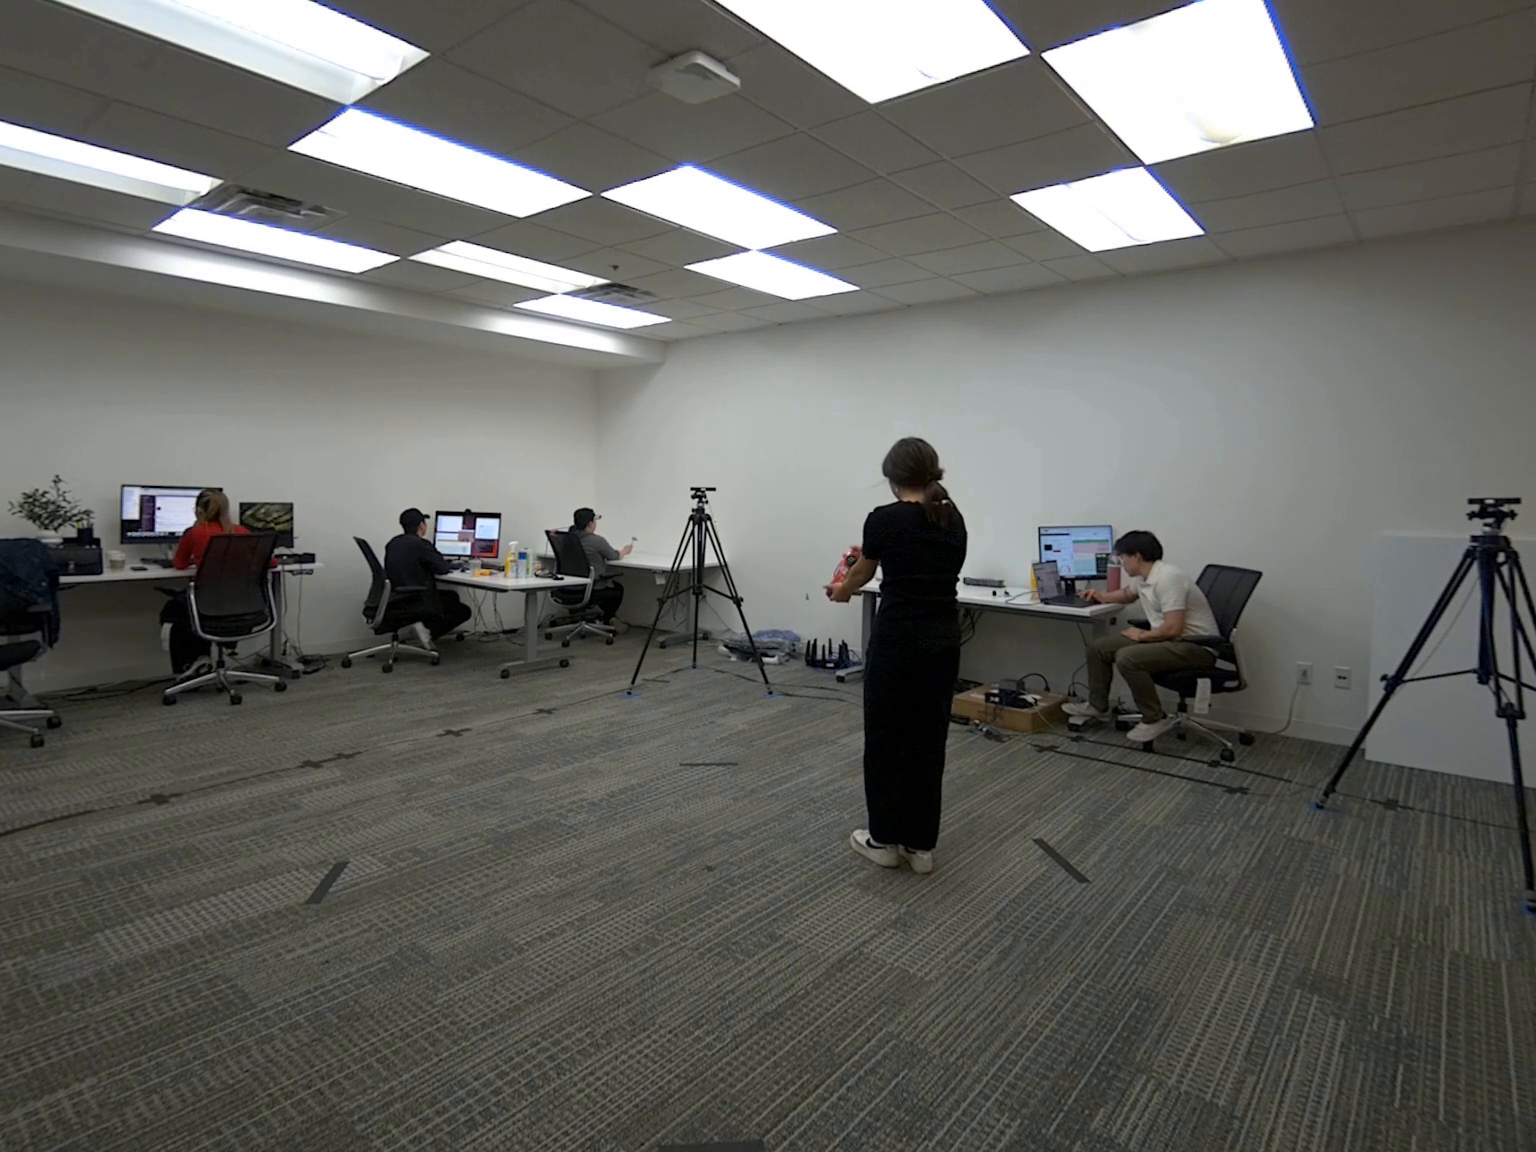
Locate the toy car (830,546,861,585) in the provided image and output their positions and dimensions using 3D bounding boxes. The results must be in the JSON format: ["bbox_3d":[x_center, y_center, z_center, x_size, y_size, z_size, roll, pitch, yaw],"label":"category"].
[{"bbox_3d":[0.325,-0.014,3.625,0.085,0.256,0.126,14,-10,21],"label":"toy car"}]
